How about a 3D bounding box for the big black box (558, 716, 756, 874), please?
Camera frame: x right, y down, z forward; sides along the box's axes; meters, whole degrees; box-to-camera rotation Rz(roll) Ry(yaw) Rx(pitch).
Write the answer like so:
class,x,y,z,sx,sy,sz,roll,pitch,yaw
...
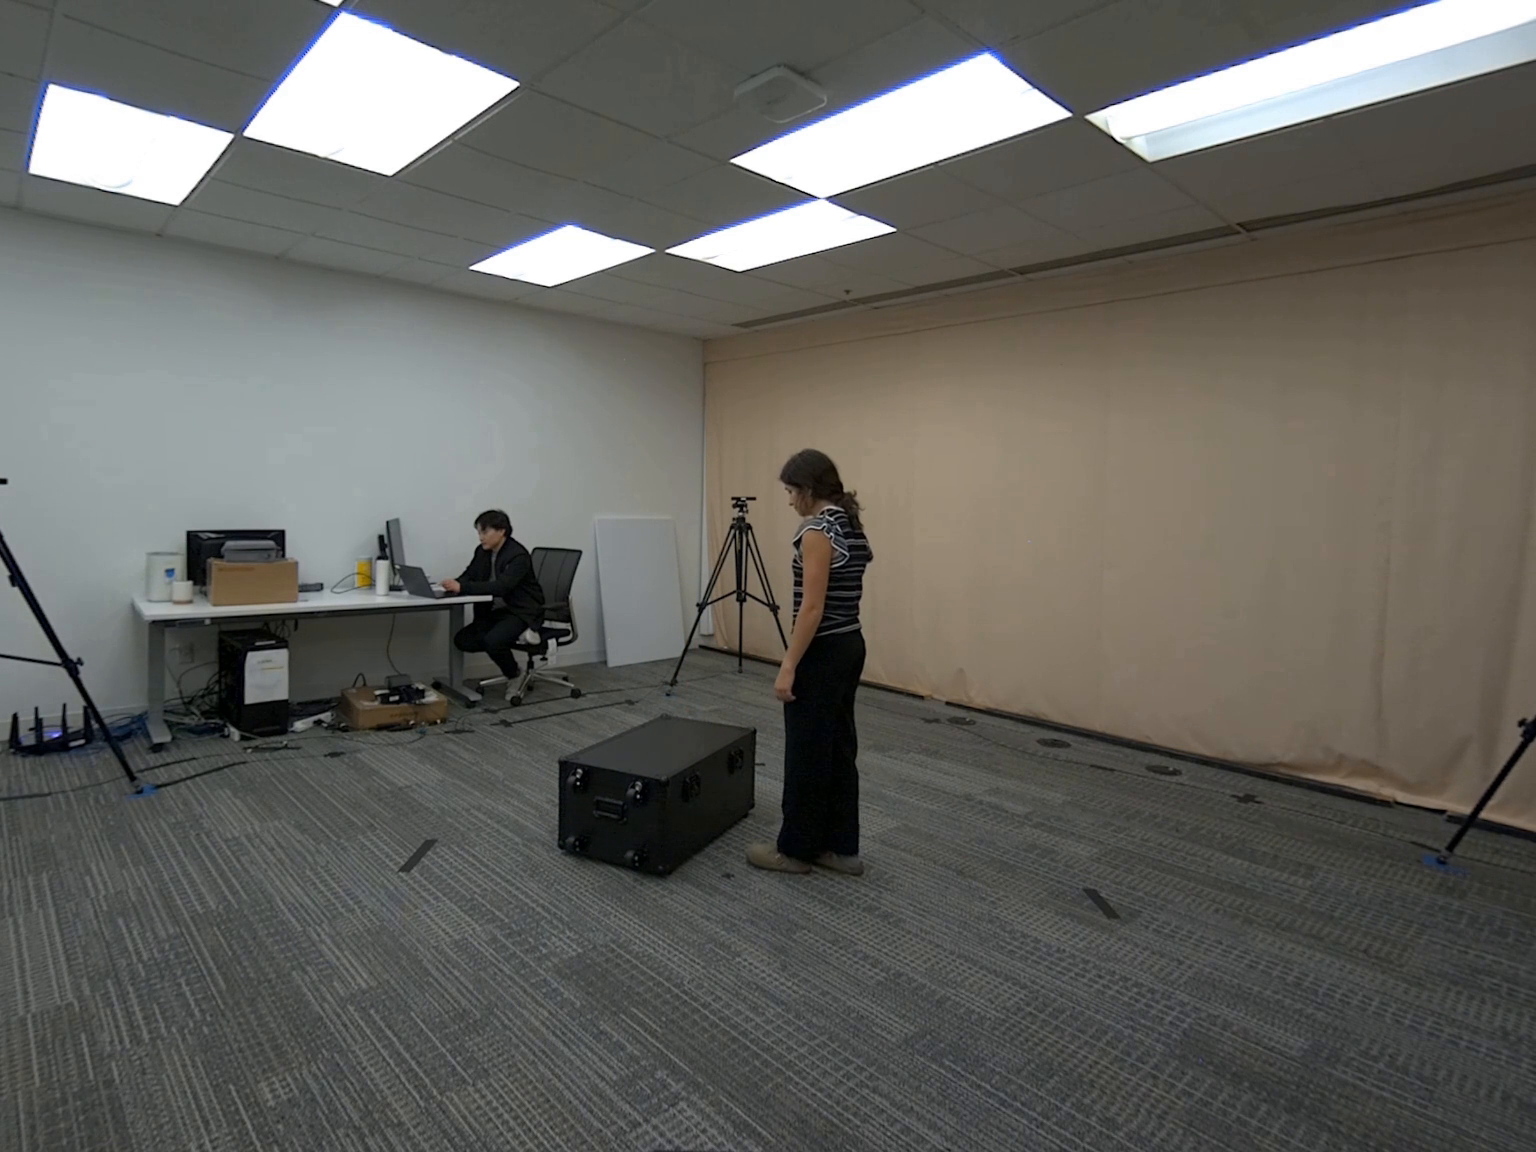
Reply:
class,x,y,z,sx,sy,sz,roll,pitch,yaw
big black box,-0.453,0.877,3.457,0.531,0.395,0.847,4,5,24
